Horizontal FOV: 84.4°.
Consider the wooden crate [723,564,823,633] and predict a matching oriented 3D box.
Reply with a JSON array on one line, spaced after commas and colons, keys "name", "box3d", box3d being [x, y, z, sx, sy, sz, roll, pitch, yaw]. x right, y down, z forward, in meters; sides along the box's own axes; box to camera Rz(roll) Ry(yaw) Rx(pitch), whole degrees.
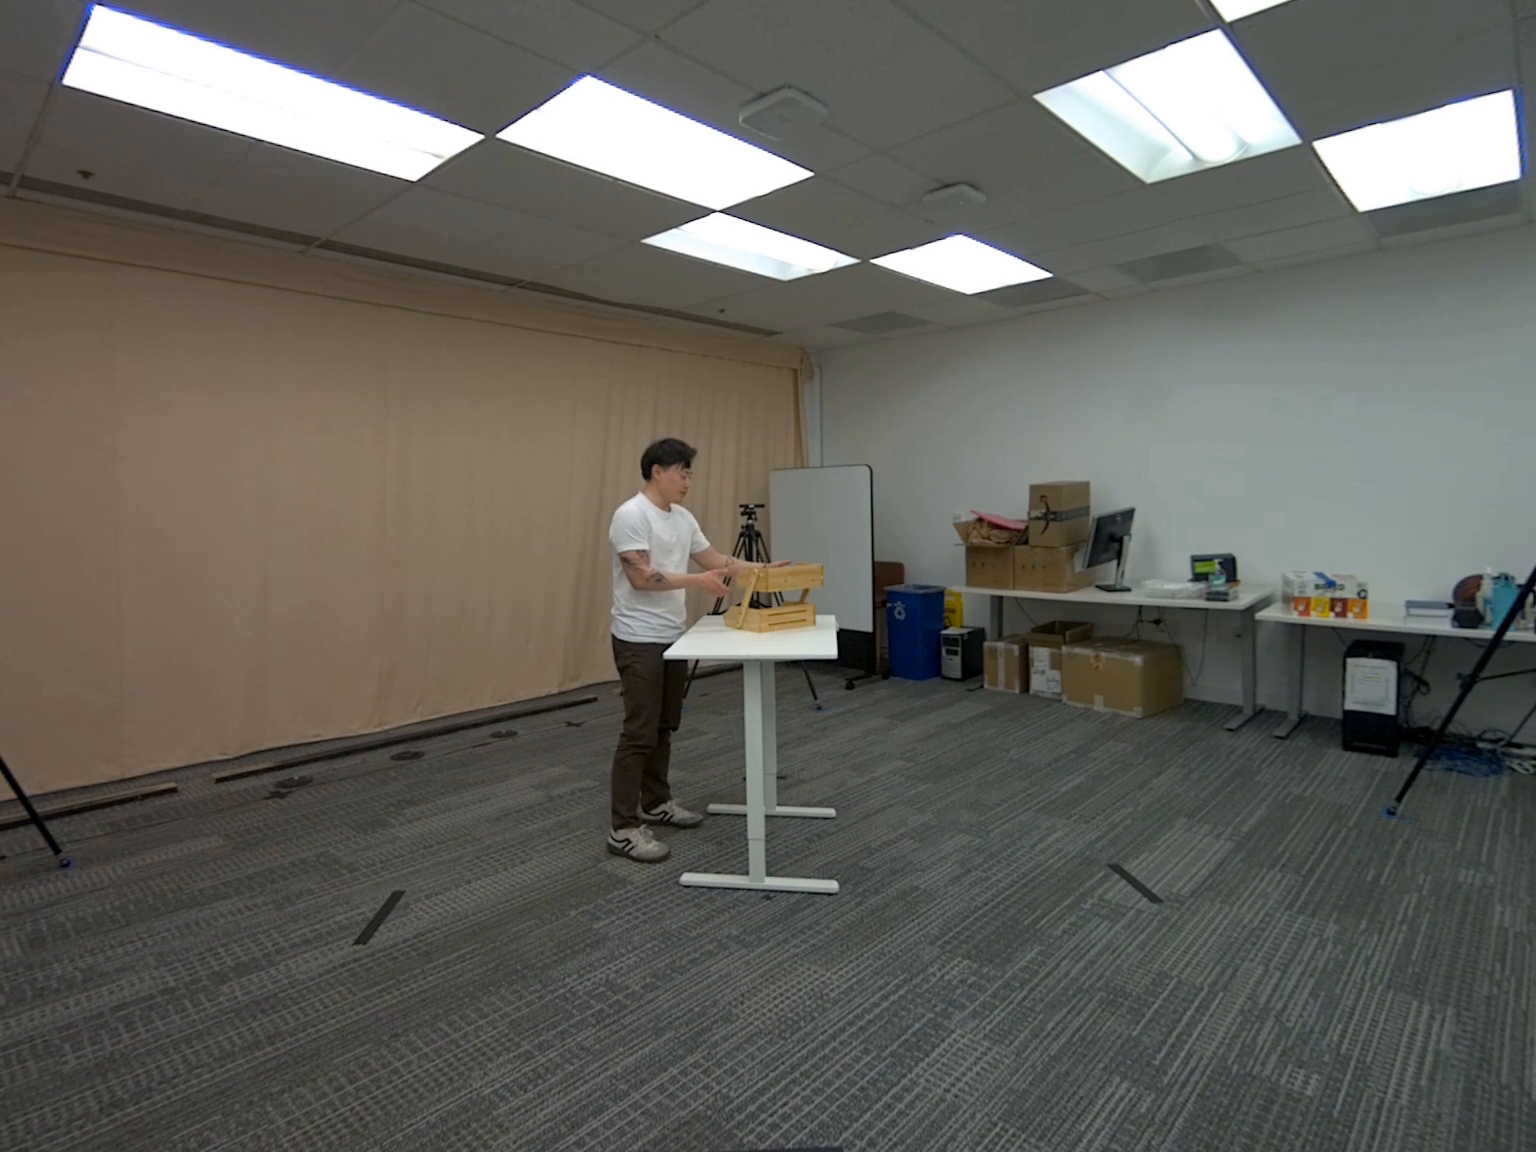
[{"name": "wooden crate", "box3d": [0.023, 0.081, 3.515, 0.315, 0.273, 0.311, -3, 5, -34]}]
